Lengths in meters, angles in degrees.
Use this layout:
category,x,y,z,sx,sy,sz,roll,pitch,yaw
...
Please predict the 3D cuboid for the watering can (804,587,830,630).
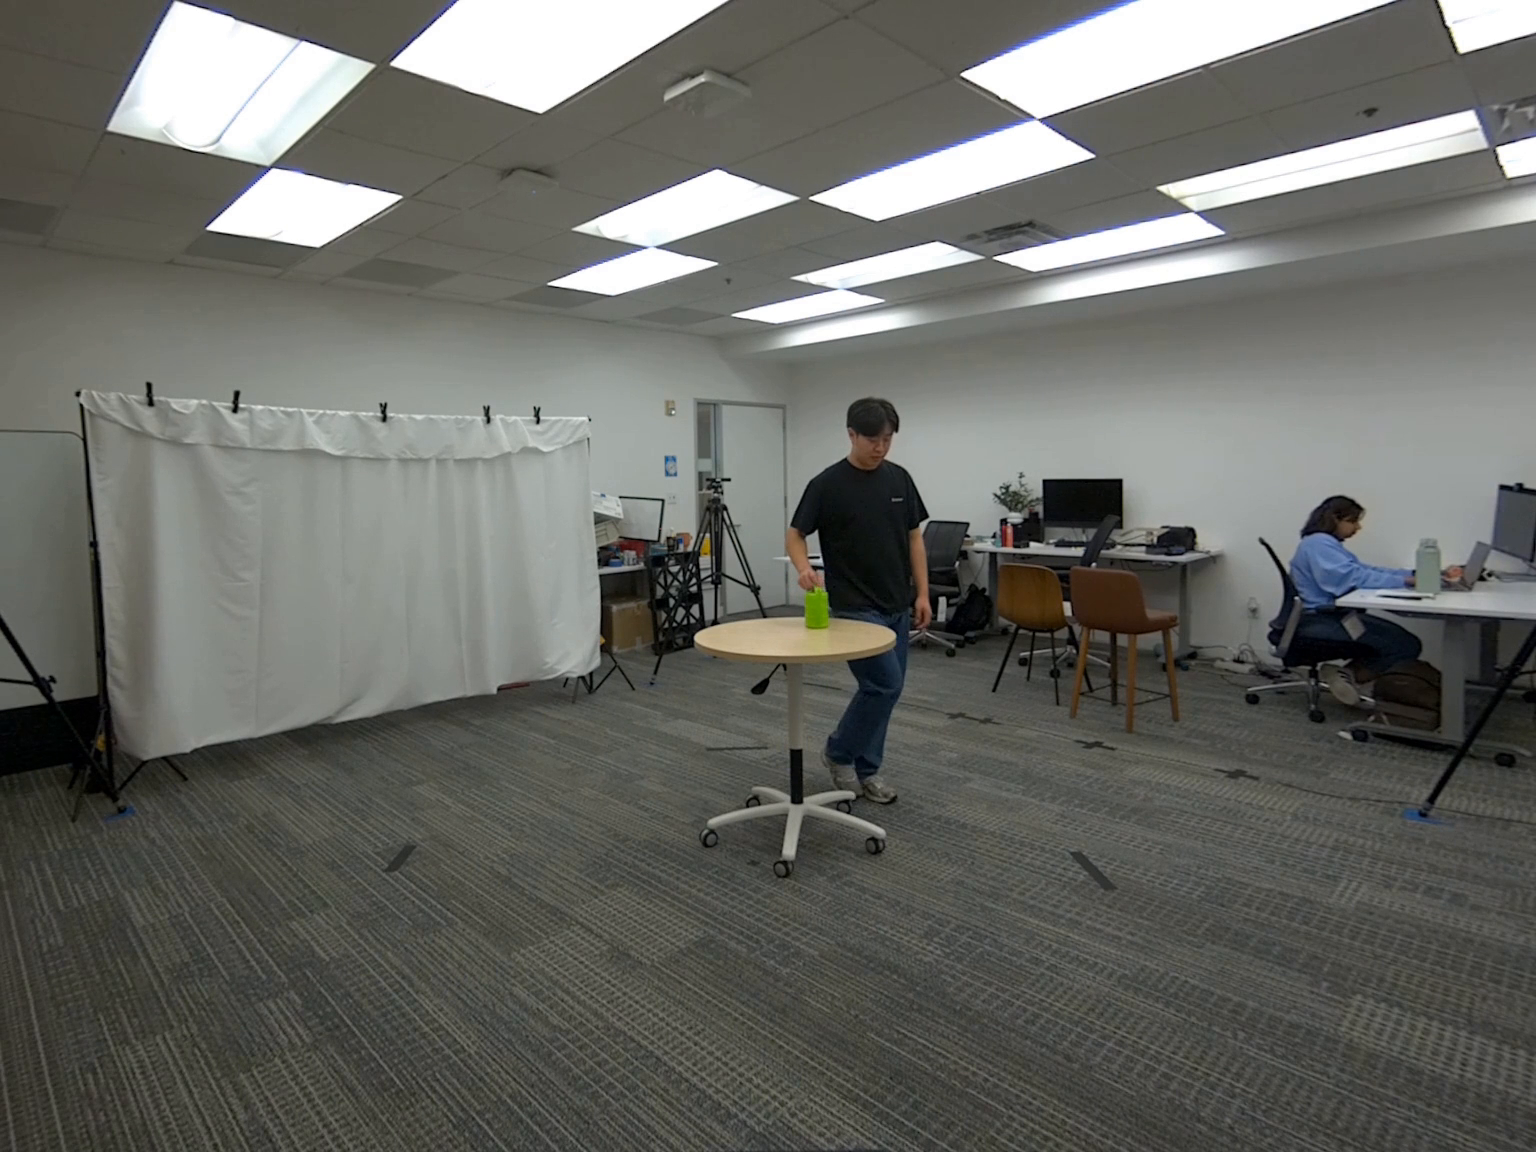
category,x,y,z,sx,sy,sz,roll,pitch,yaw
watering can,0.191,0.125,3.392,0.099,0.176,0.276,-3,5,10
